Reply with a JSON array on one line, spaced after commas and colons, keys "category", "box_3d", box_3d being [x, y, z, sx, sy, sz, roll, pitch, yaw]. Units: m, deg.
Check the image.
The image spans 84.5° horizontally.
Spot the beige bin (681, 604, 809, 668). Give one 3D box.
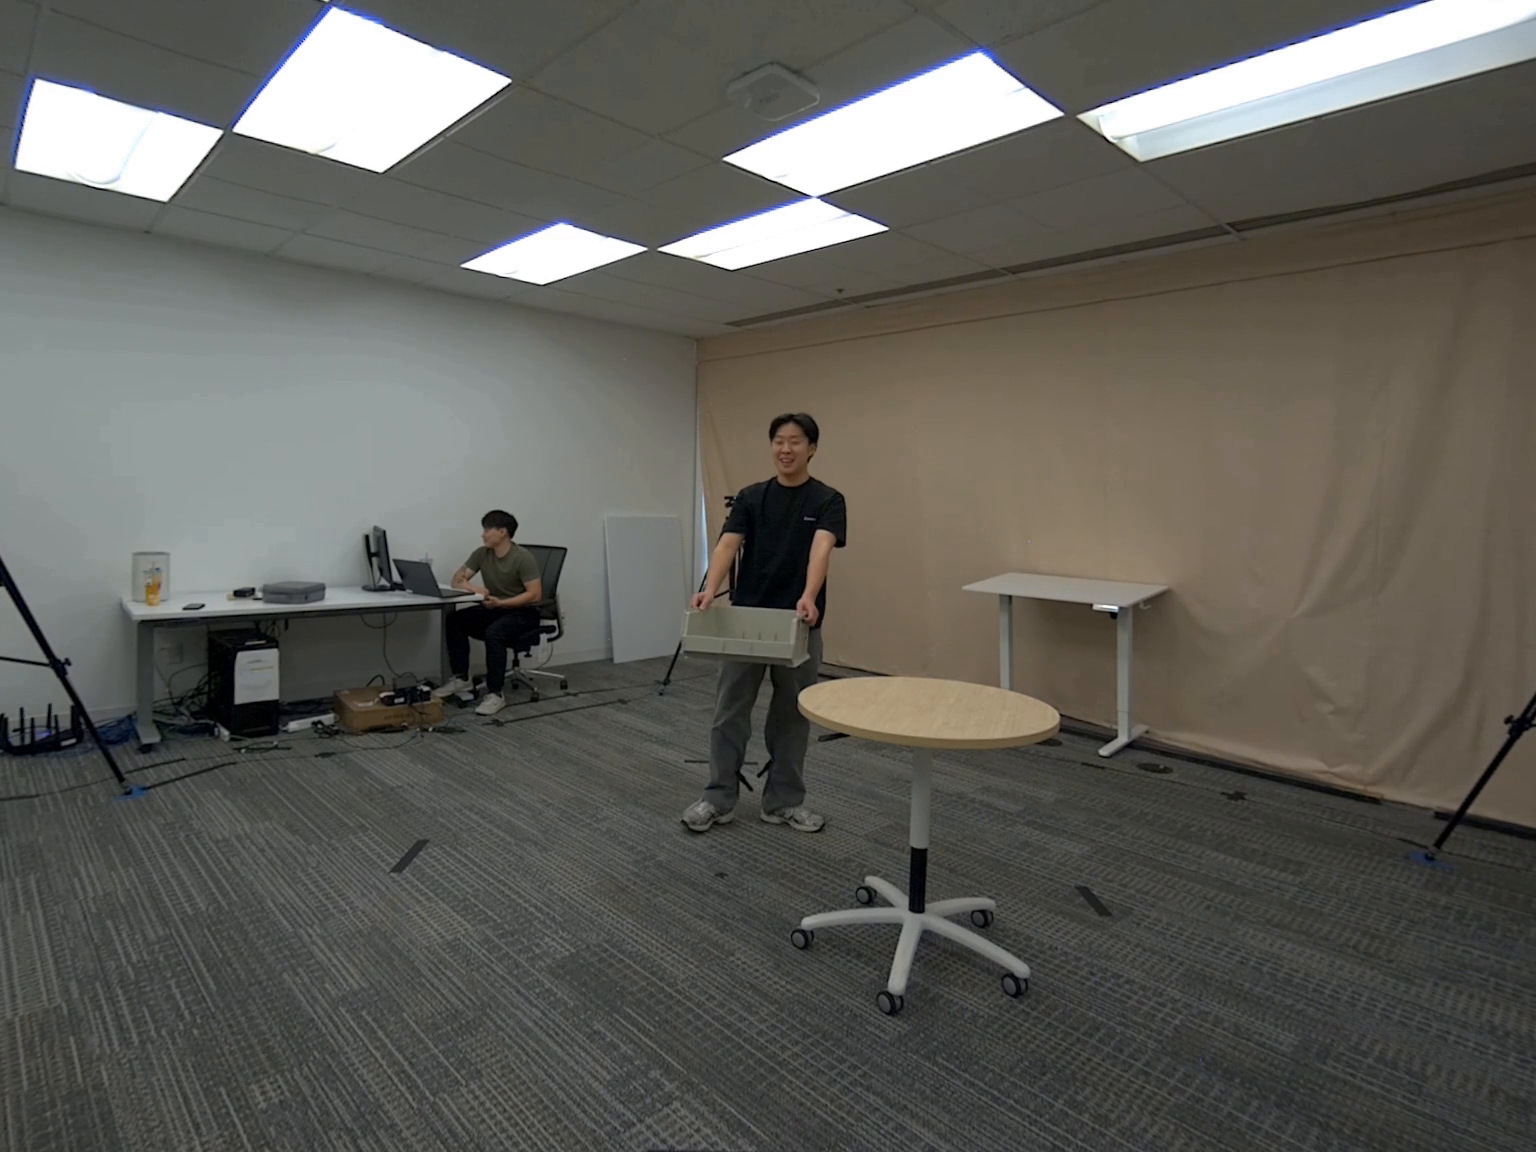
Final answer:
[{"category": "beige bin", "box_3d": [-0.067, 0.220, 3.156, 0.427, 0.189, 0.373, 2, 0, 13]}]
